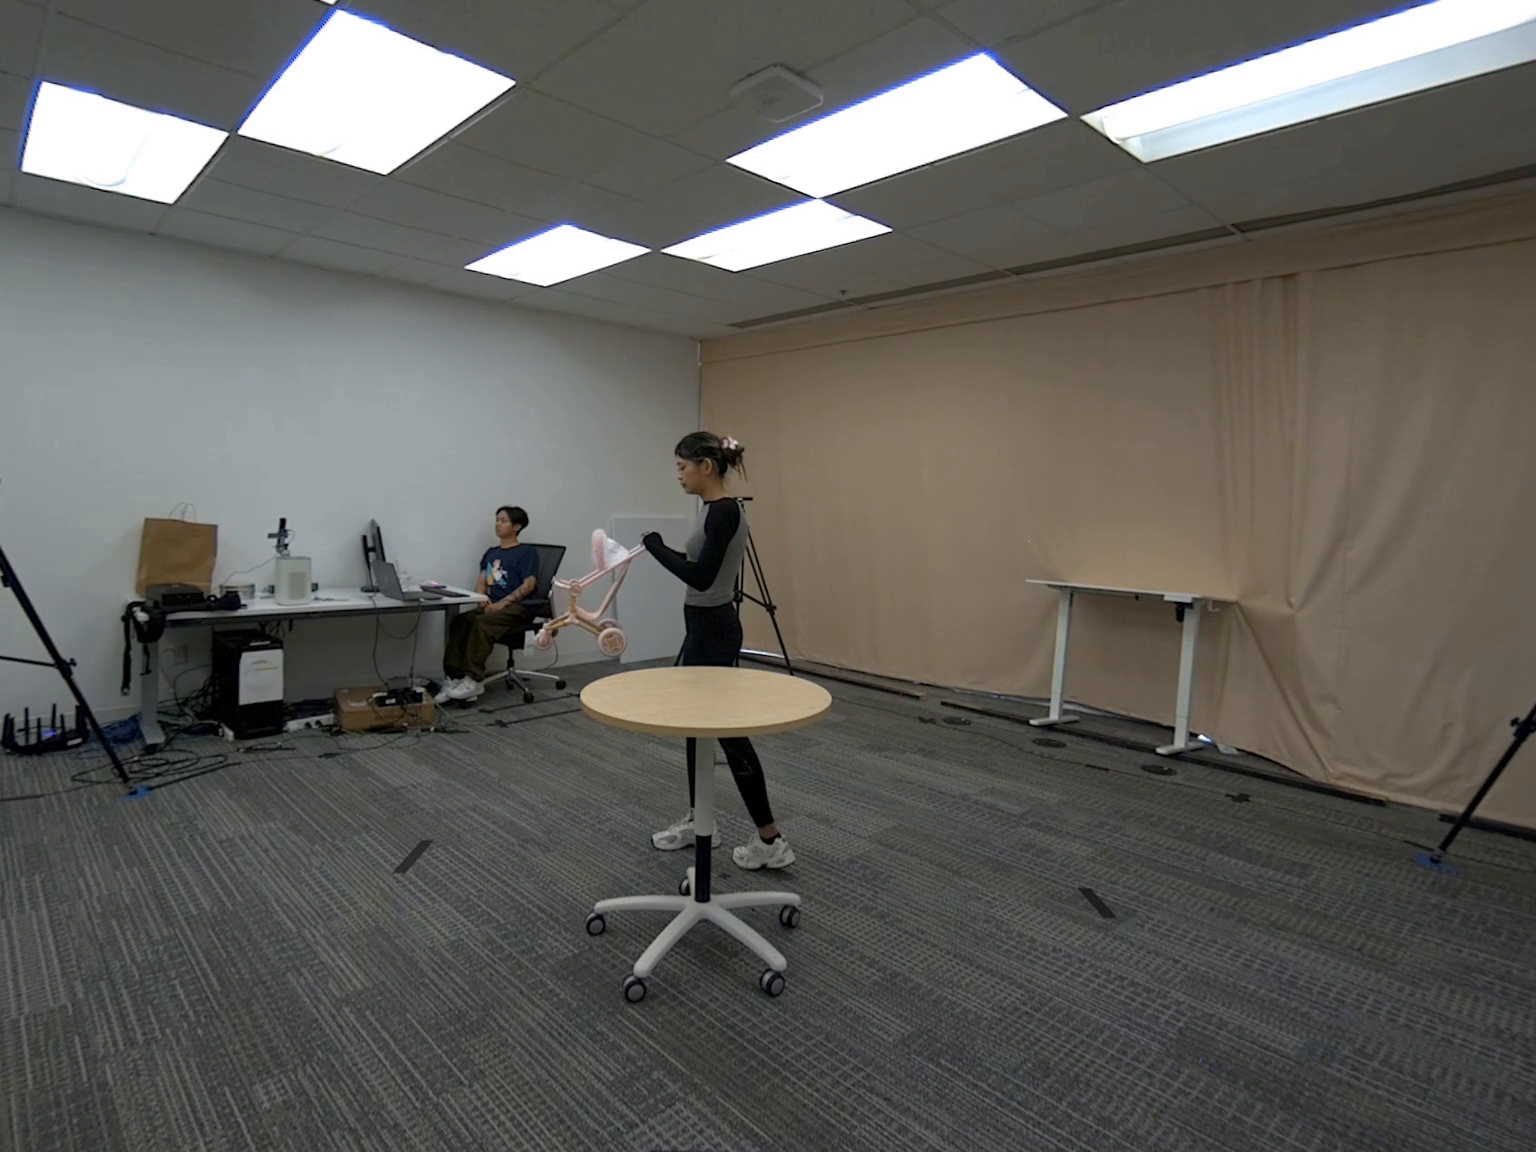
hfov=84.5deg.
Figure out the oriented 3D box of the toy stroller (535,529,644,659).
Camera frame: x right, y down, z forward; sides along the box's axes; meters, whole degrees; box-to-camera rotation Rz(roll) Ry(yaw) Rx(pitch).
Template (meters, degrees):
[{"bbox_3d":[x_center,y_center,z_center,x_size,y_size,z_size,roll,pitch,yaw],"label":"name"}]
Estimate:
[{"bbox_3d":[-0.671,0.062,3.229,0.339,0.535,0.283,16,0,-8],"label":"toy stroller"}]
